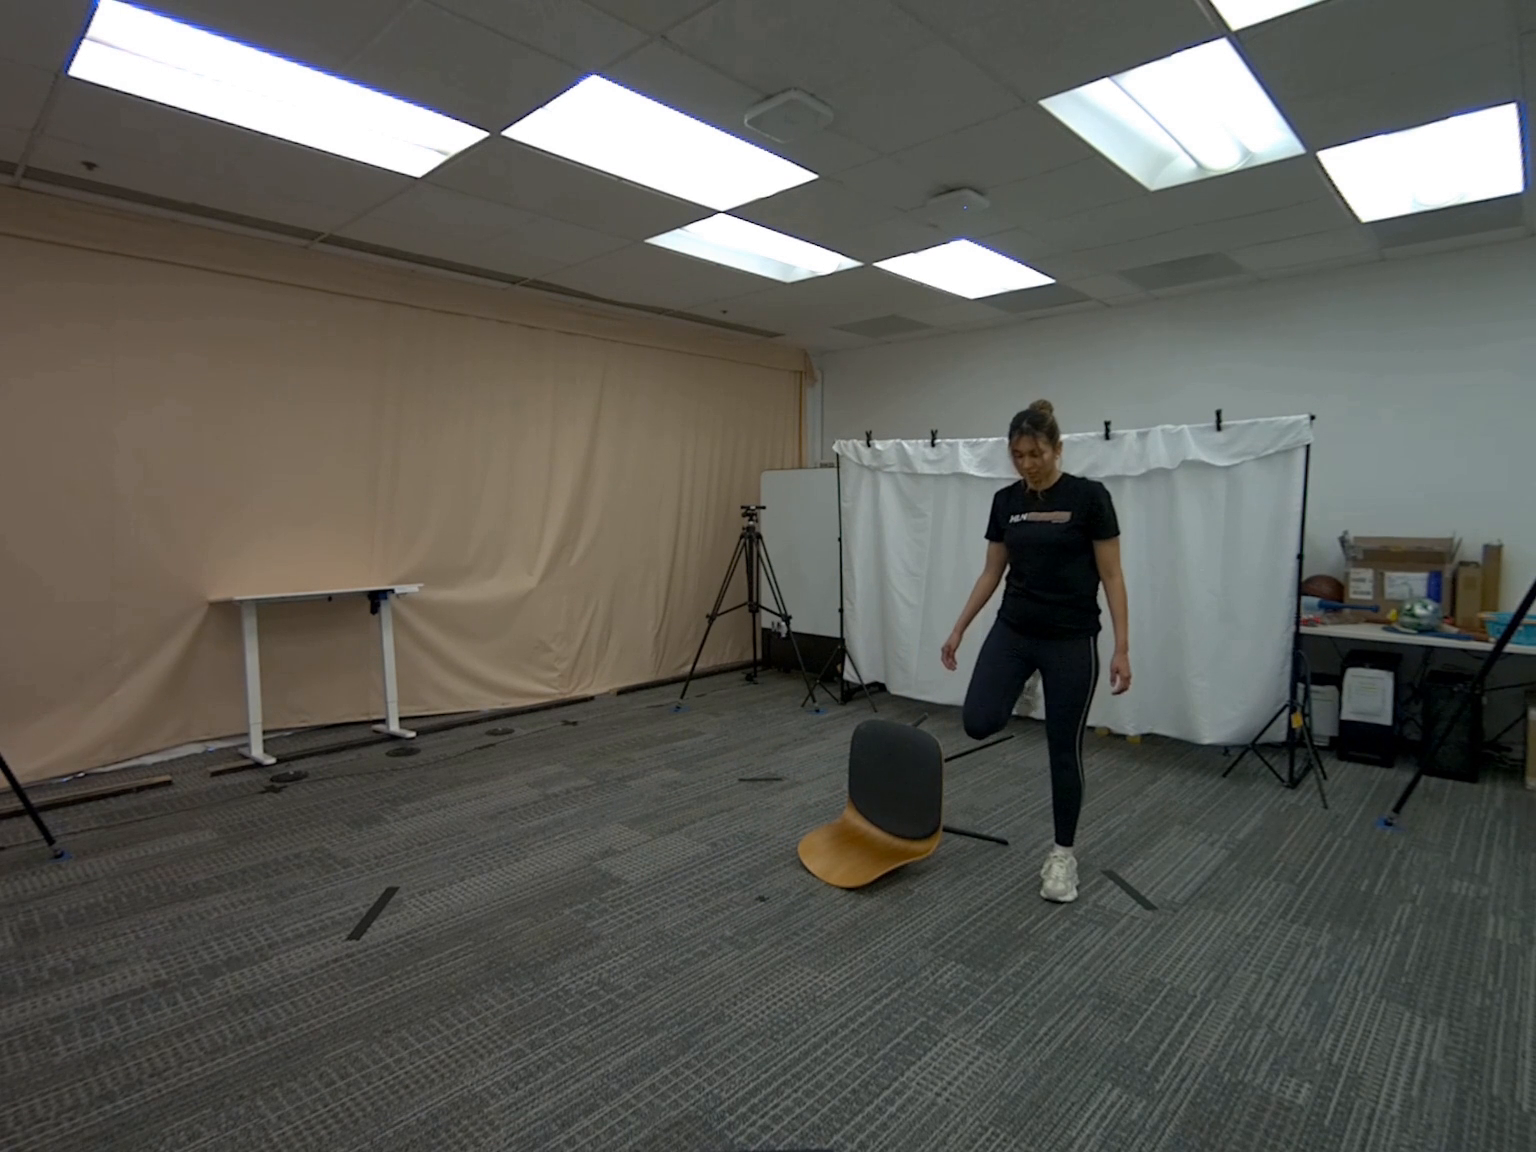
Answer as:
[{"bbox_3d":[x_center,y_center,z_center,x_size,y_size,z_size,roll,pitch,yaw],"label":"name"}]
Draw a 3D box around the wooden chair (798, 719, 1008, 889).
[{"bbox_3d":[0.525,0.848,3.368,0.851,0.522,0.494,-4,5,-40],"label":"wooden chair"}]
